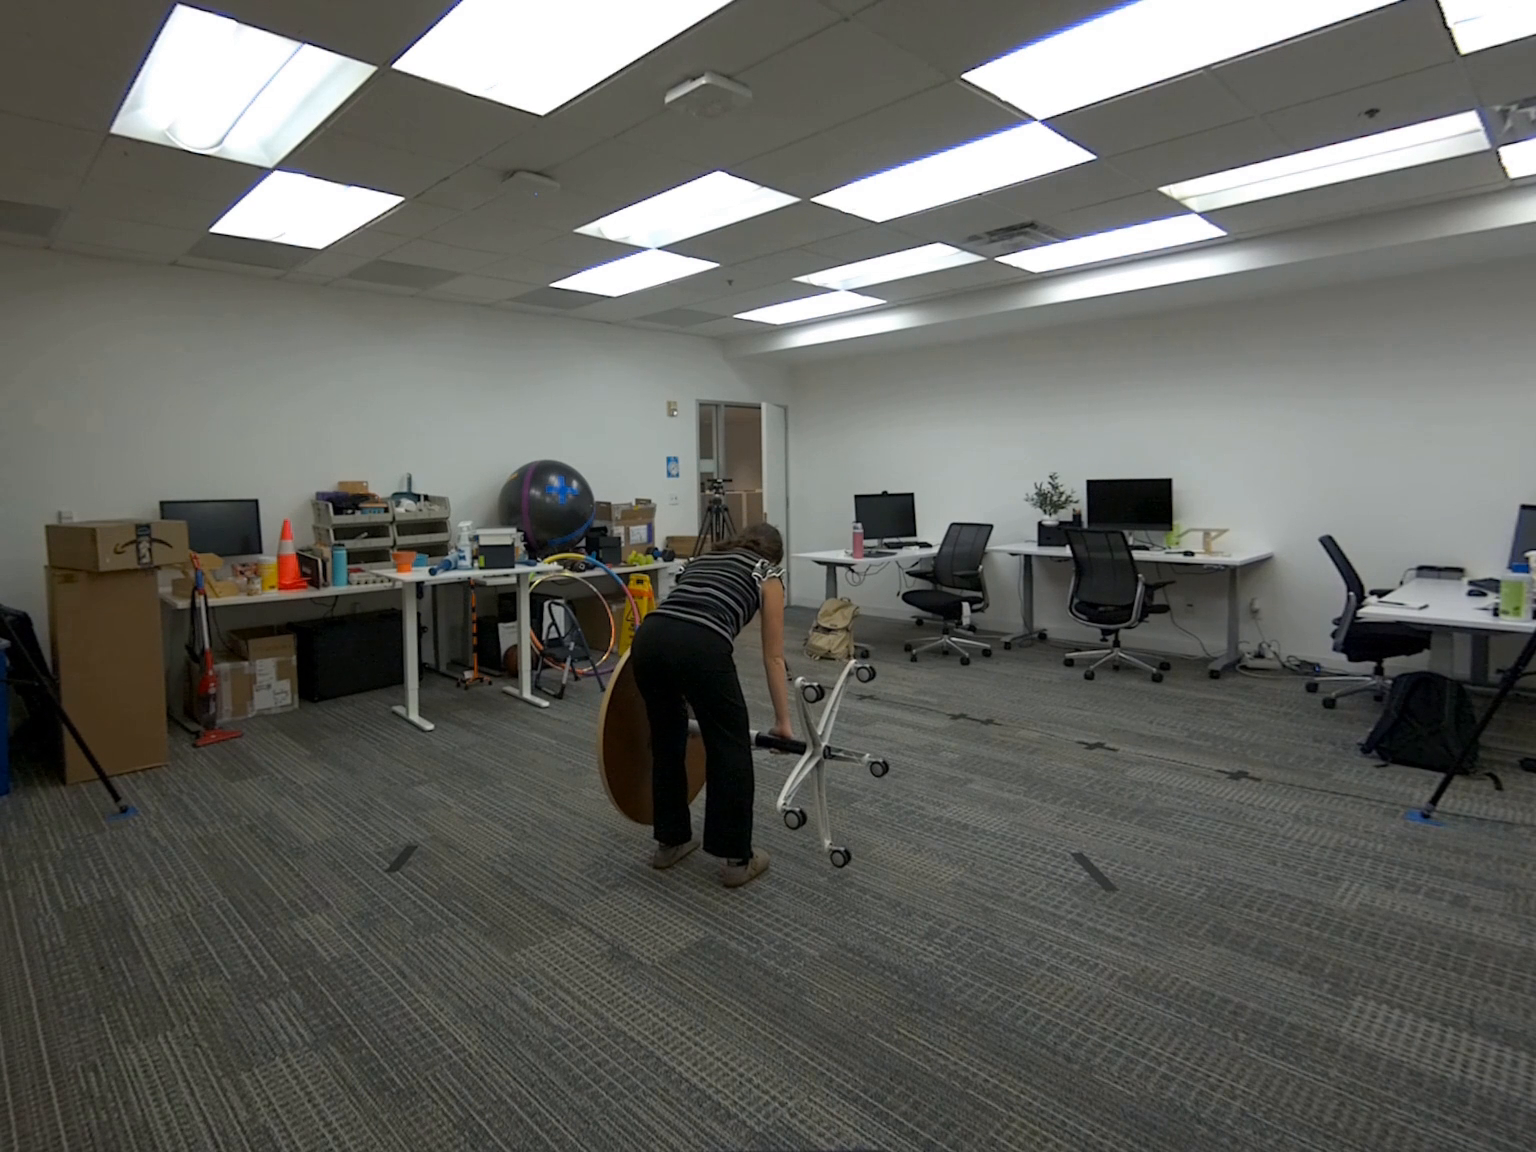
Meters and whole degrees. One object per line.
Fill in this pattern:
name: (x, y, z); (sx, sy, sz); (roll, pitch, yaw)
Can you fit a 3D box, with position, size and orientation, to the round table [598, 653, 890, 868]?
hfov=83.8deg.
round table: (-0.063, 0.598, 3.104); (0.817, 0.761, 0.746); (3, 6, 34)
